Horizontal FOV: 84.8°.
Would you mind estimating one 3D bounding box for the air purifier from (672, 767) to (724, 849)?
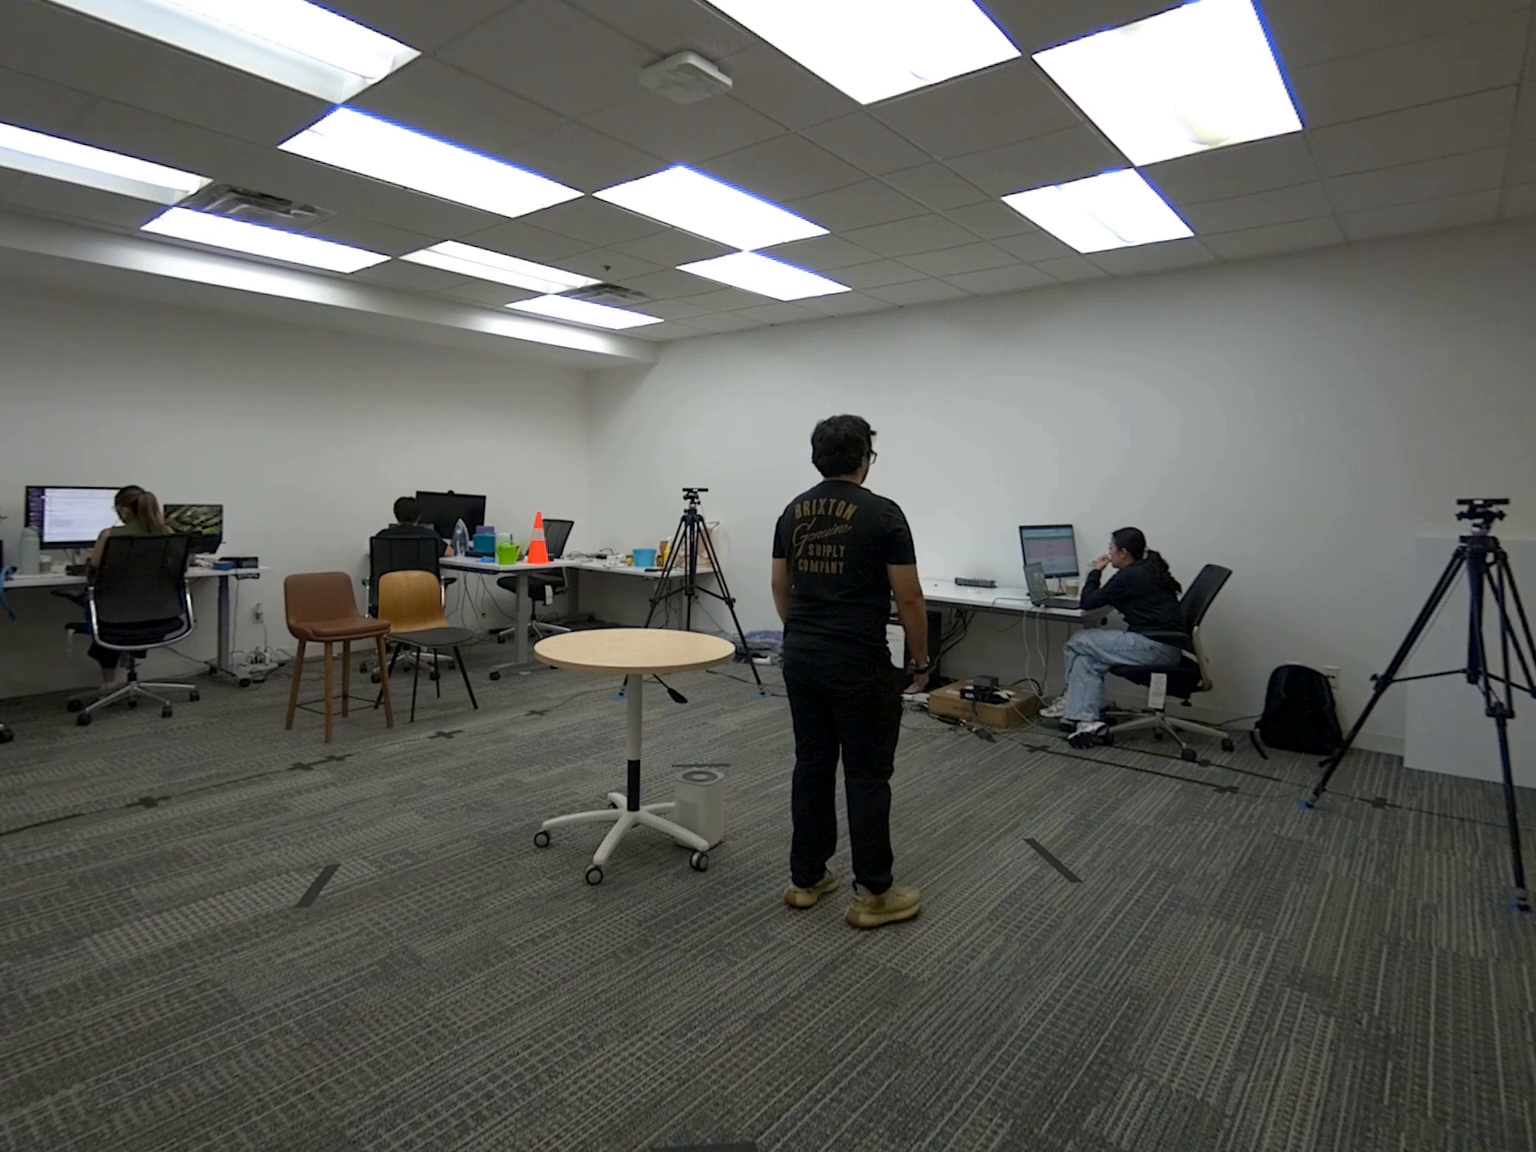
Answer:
[{"bbox_3d":[-0.276,0.912,3.339,0.176,0.265,0.167,2,3,28],"label":"air purifier"}]
